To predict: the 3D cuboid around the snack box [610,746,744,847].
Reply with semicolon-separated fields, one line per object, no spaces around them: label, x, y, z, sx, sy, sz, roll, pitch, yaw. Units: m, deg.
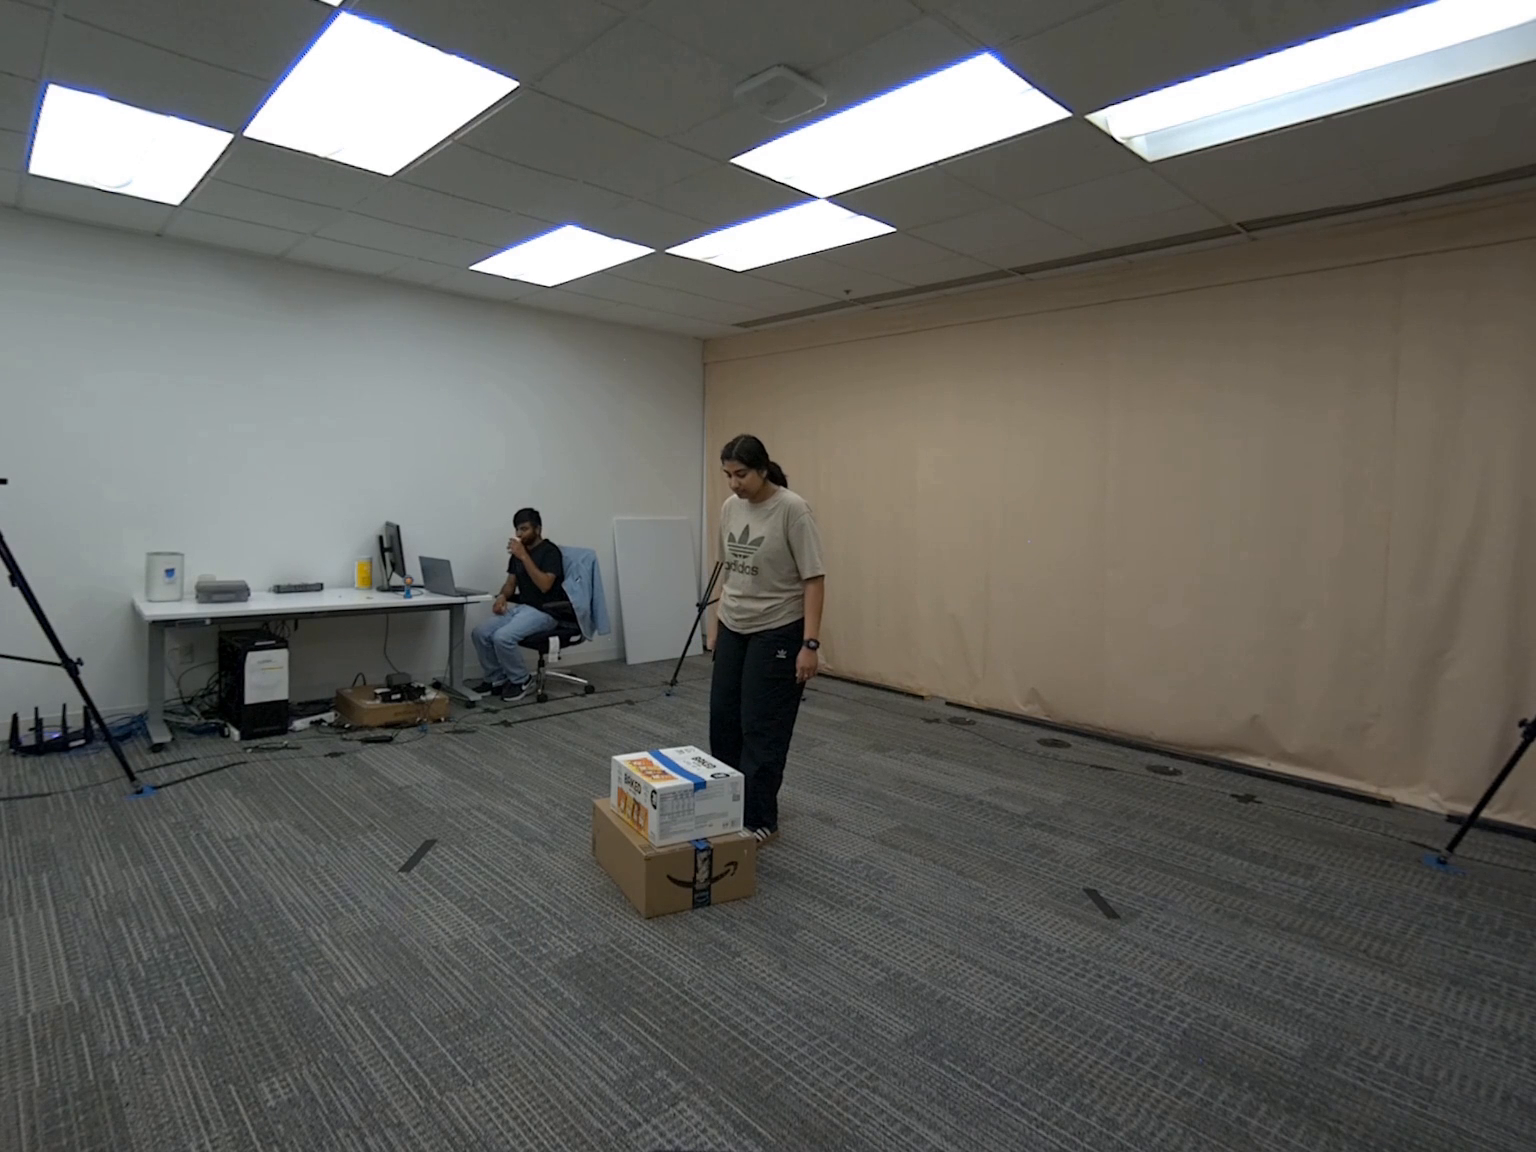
snack box;-0.341;0.793;3.061;0.333;0.205;0.414;-1;5;-31
